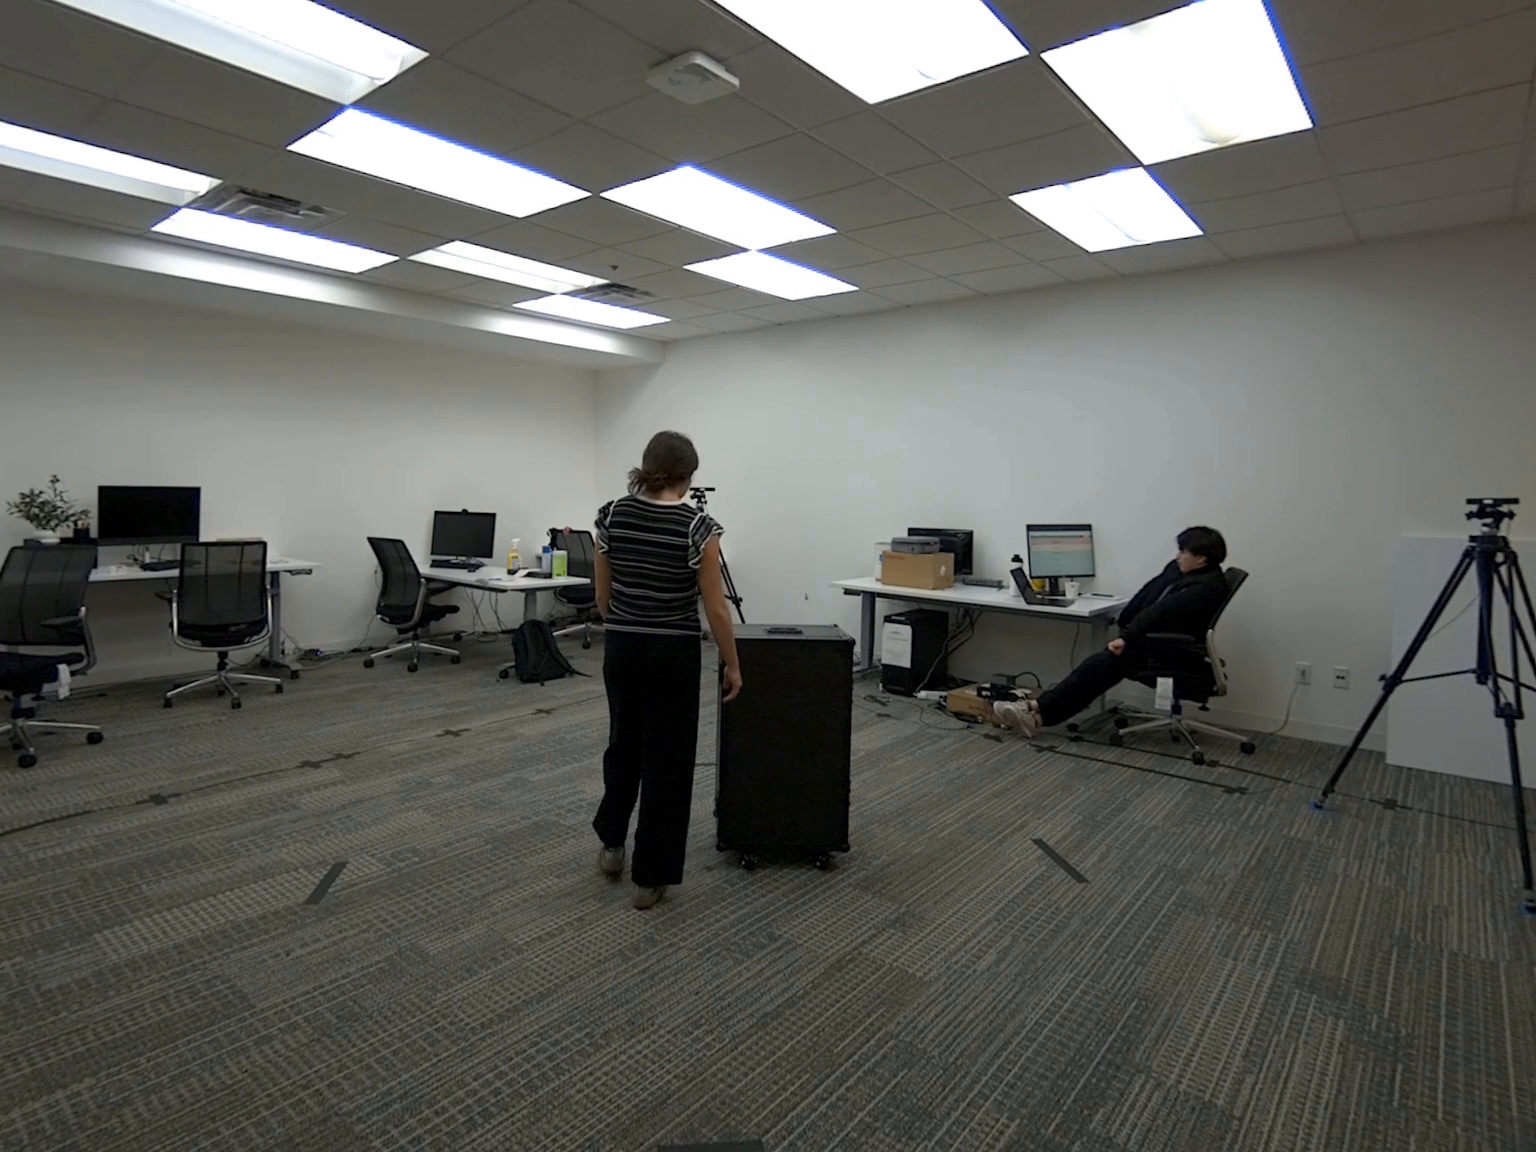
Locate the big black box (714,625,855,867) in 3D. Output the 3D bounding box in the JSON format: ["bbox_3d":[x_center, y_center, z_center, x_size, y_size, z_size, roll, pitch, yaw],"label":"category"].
[{"bbox_3d":[0.036,0.634,3.280,0.520,0.860,0.398,1,2,-3],"label":"big black box"}]
